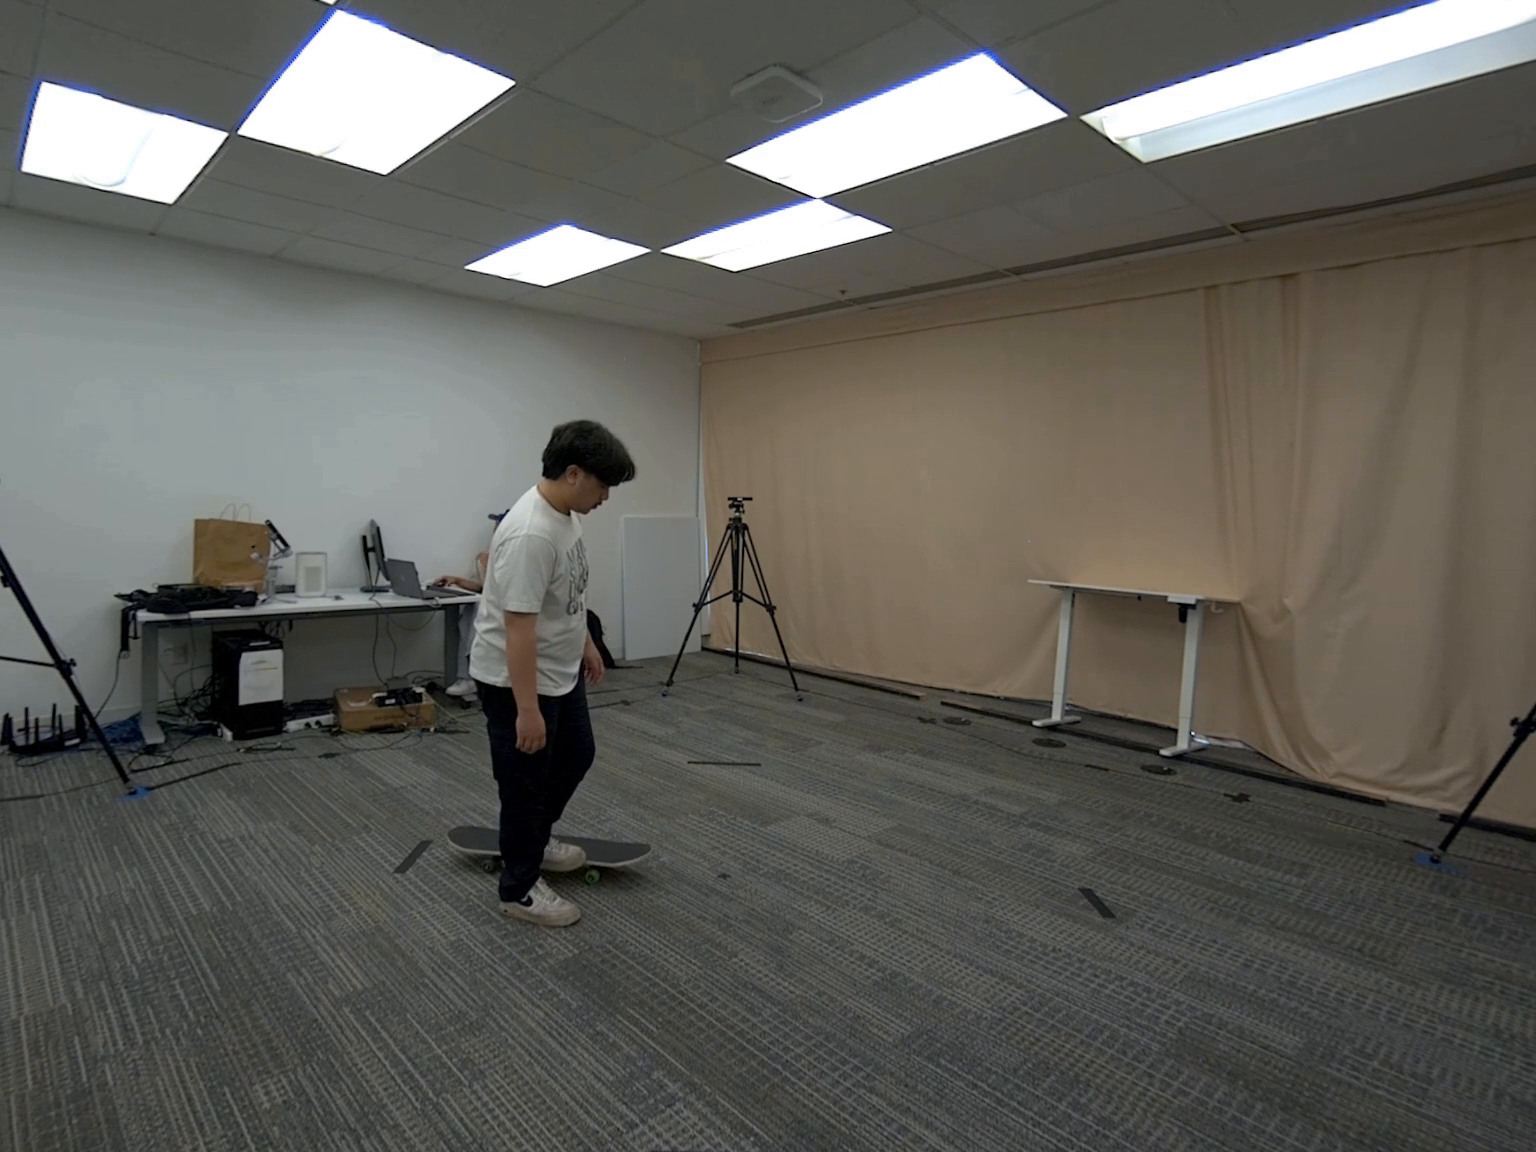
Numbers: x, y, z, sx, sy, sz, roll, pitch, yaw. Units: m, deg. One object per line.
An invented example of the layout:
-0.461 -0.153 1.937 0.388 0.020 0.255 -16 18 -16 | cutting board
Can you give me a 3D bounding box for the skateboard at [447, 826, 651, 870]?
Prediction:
-0.811 1.032 3.124 0.792 0.110 0.192 2 6 10 | skateboard
